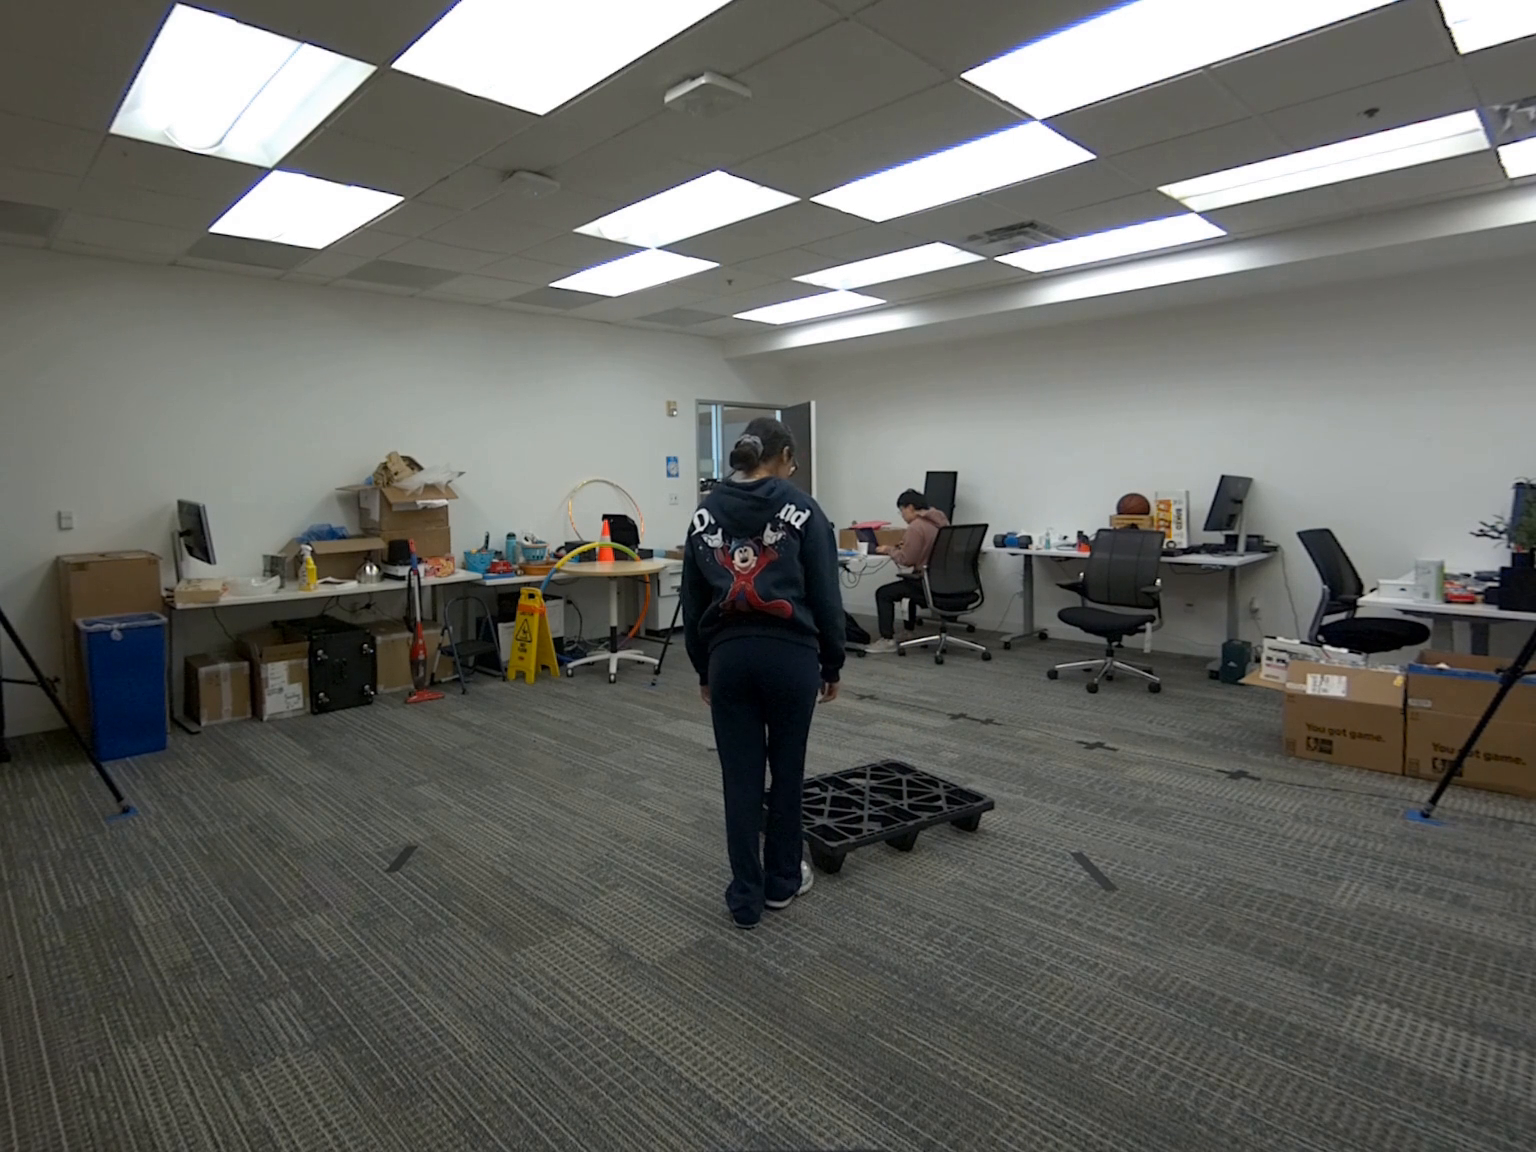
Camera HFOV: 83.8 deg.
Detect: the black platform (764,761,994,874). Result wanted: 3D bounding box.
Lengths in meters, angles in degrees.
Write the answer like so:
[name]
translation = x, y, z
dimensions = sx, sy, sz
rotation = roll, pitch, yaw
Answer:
[black platform]
translation = 0.391, 0.939, 3.382
dimensions = 0.786, 0.143, 0.622
rotation = -5, 7, -31
